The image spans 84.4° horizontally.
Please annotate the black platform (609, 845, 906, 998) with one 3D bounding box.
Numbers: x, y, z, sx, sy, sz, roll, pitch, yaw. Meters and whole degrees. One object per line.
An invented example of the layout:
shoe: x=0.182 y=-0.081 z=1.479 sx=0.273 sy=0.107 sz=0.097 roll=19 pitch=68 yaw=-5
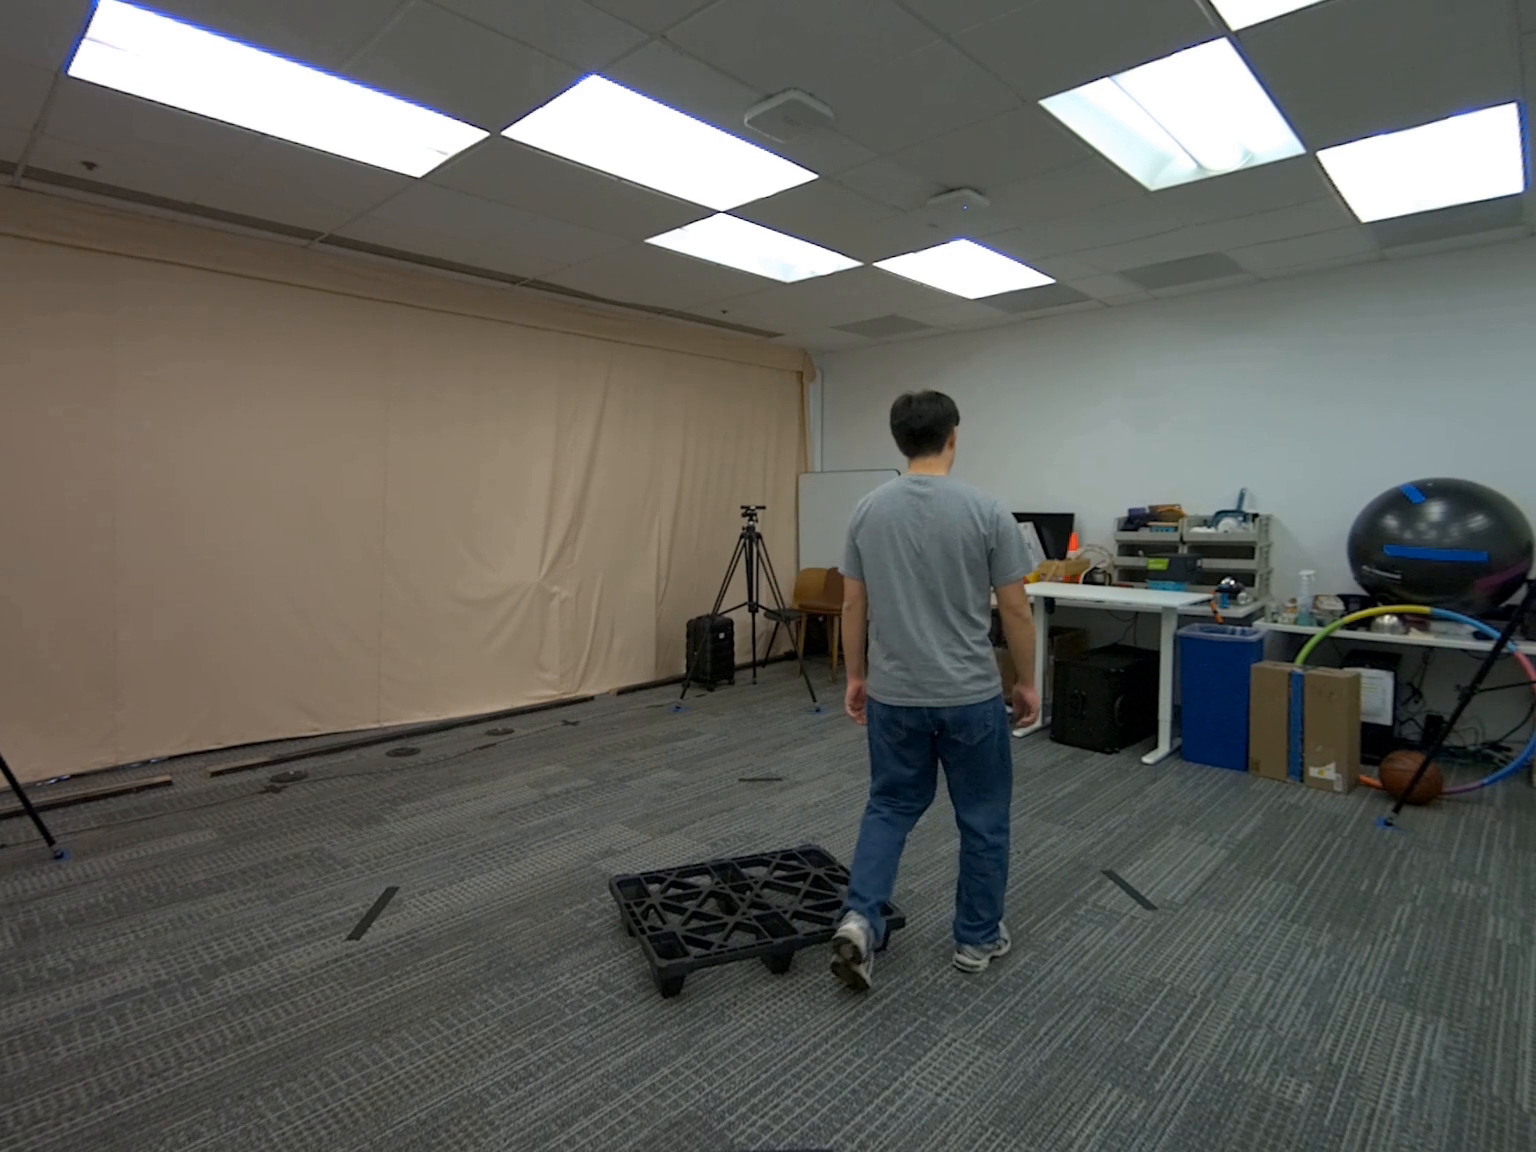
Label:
black platform: x=-0.059 y=1.098 z=2.723 sx=0.788 sy=0.143 sz=0.619 roll=-2 pitch=4 yaw=-22
